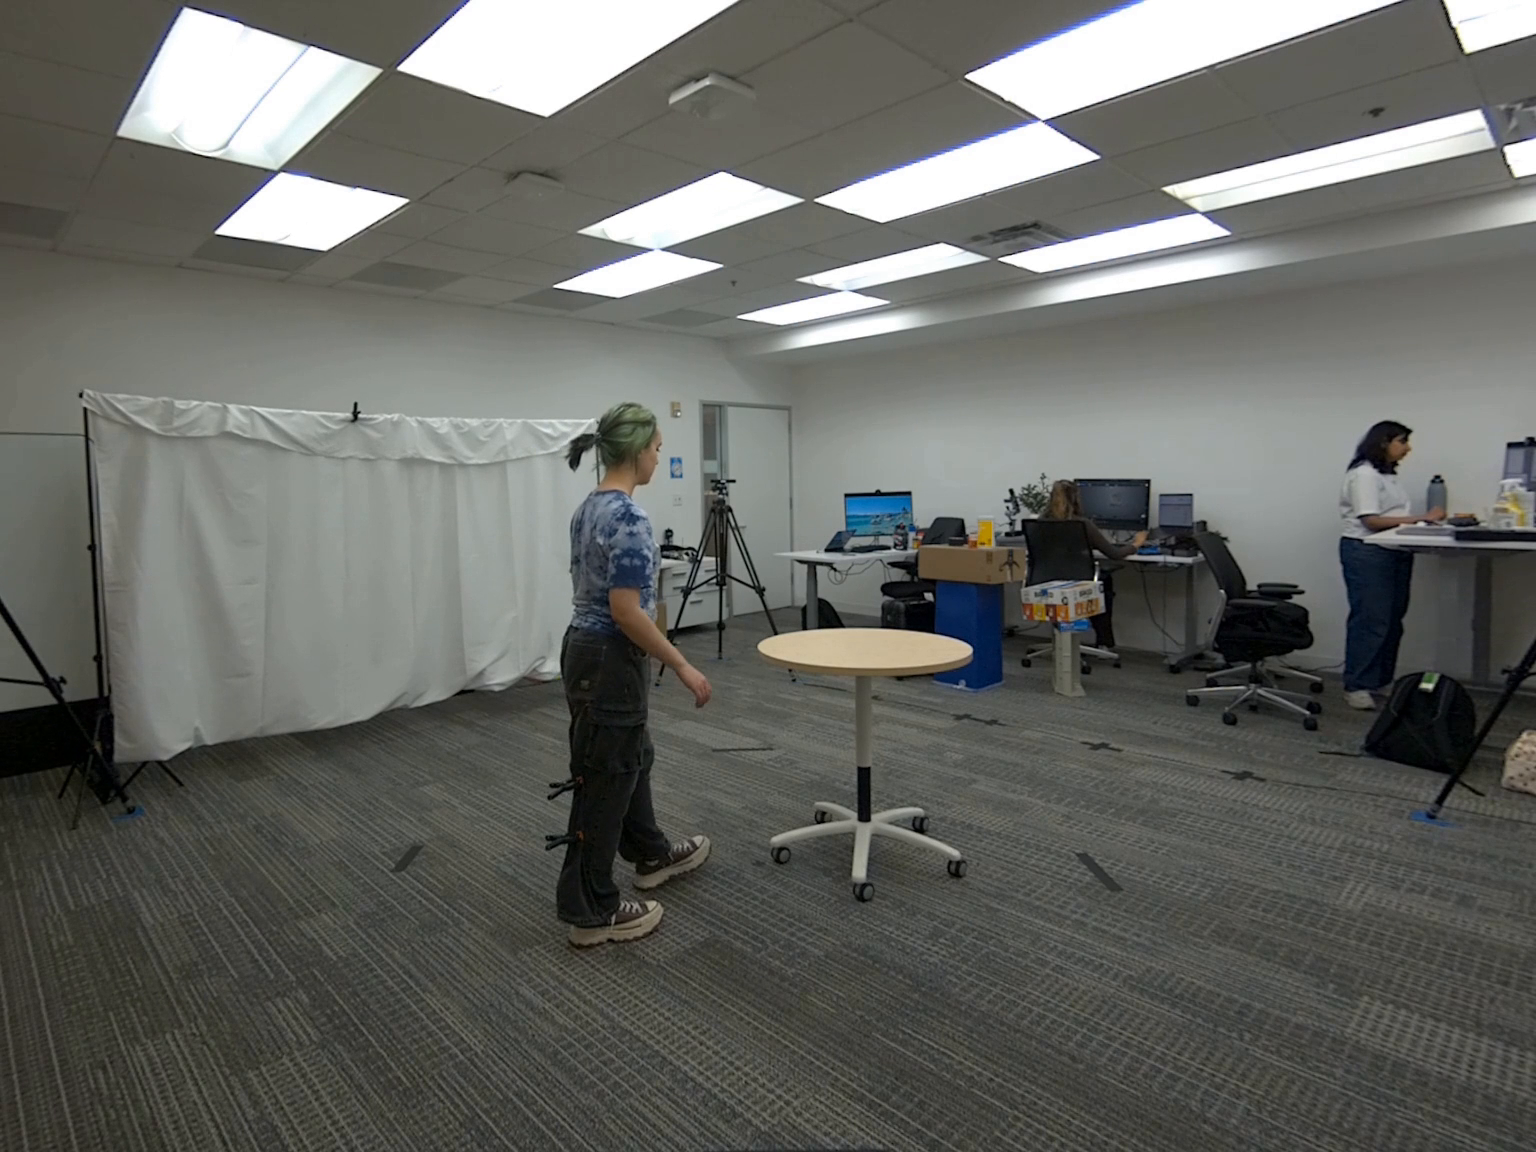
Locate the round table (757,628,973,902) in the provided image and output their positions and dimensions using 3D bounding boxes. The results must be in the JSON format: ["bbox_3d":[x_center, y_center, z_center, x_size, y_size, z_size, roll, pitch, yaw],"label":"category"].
[{"bbox_3d":[0.352,0.648,3.129,0.763,0.791,0.767,-1,4,-2],"label":"round table"}]
